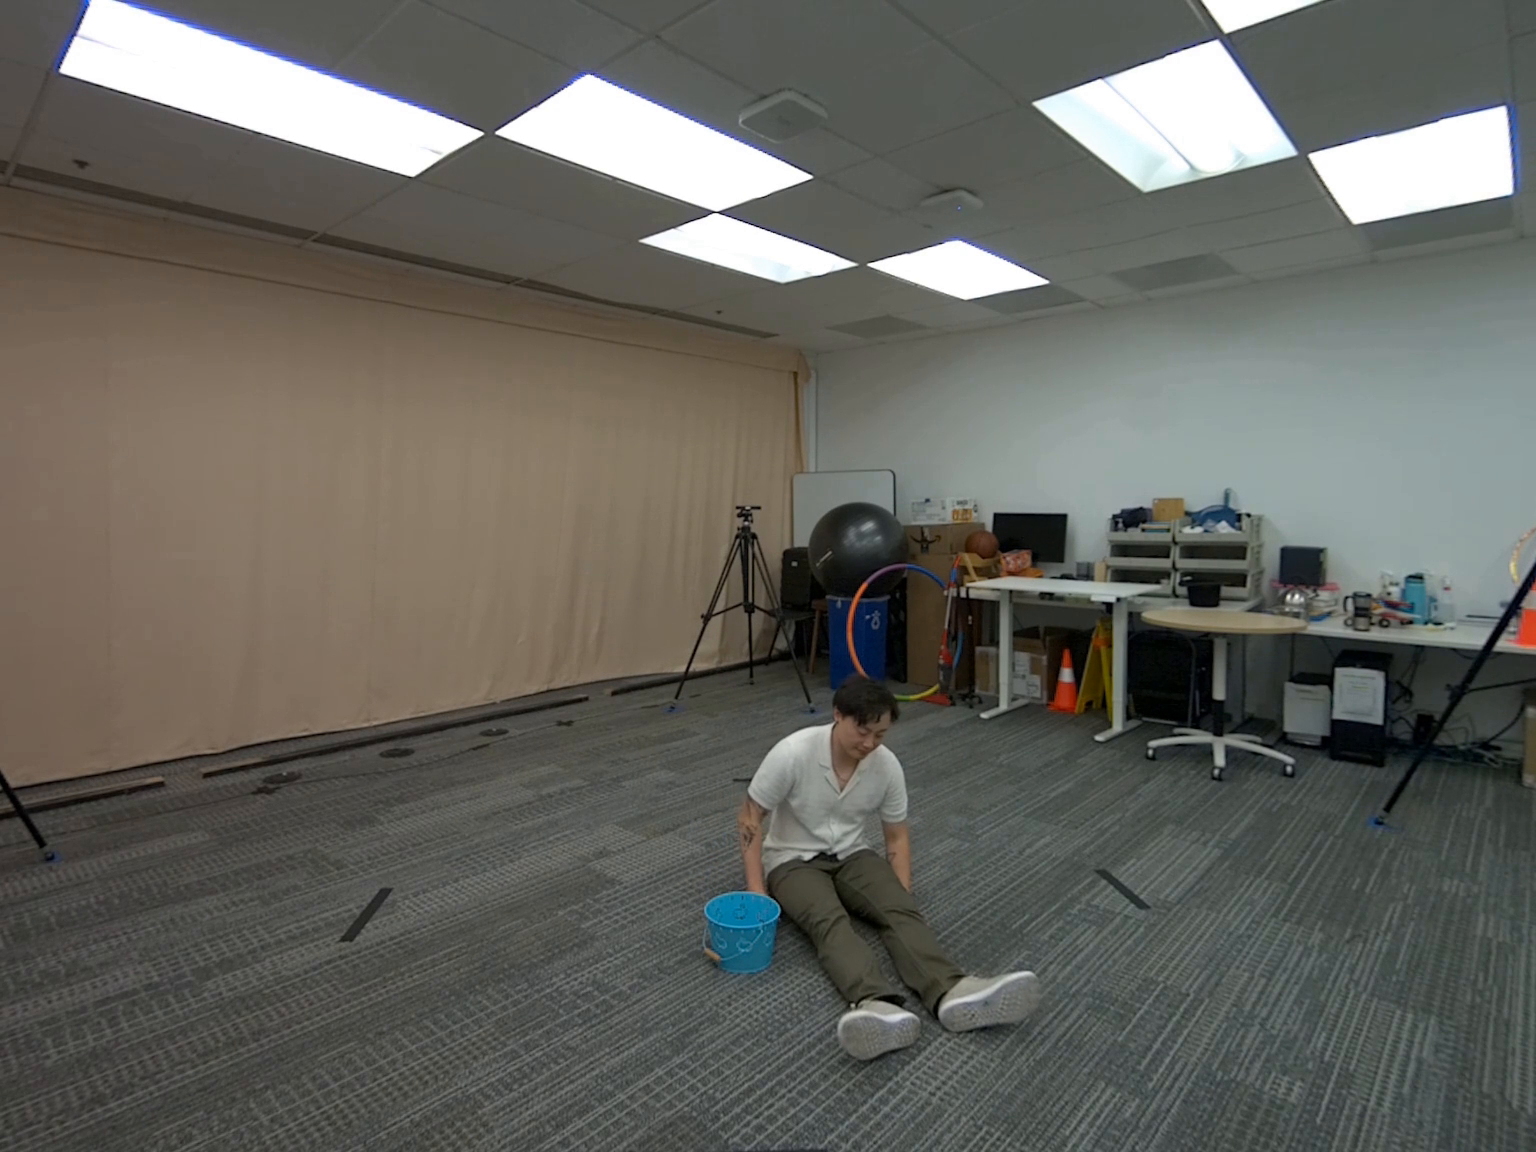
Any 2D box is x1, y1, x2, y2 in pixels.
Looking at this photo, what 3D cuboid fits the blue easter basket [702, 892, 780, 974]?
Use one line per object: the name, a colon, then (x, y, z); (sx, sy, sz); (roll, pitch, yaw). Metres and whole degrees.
blue easter basket: (-0.080, 1.102, 2.592); (0.243, 0.155, 0.244); (0, 3, -2)
